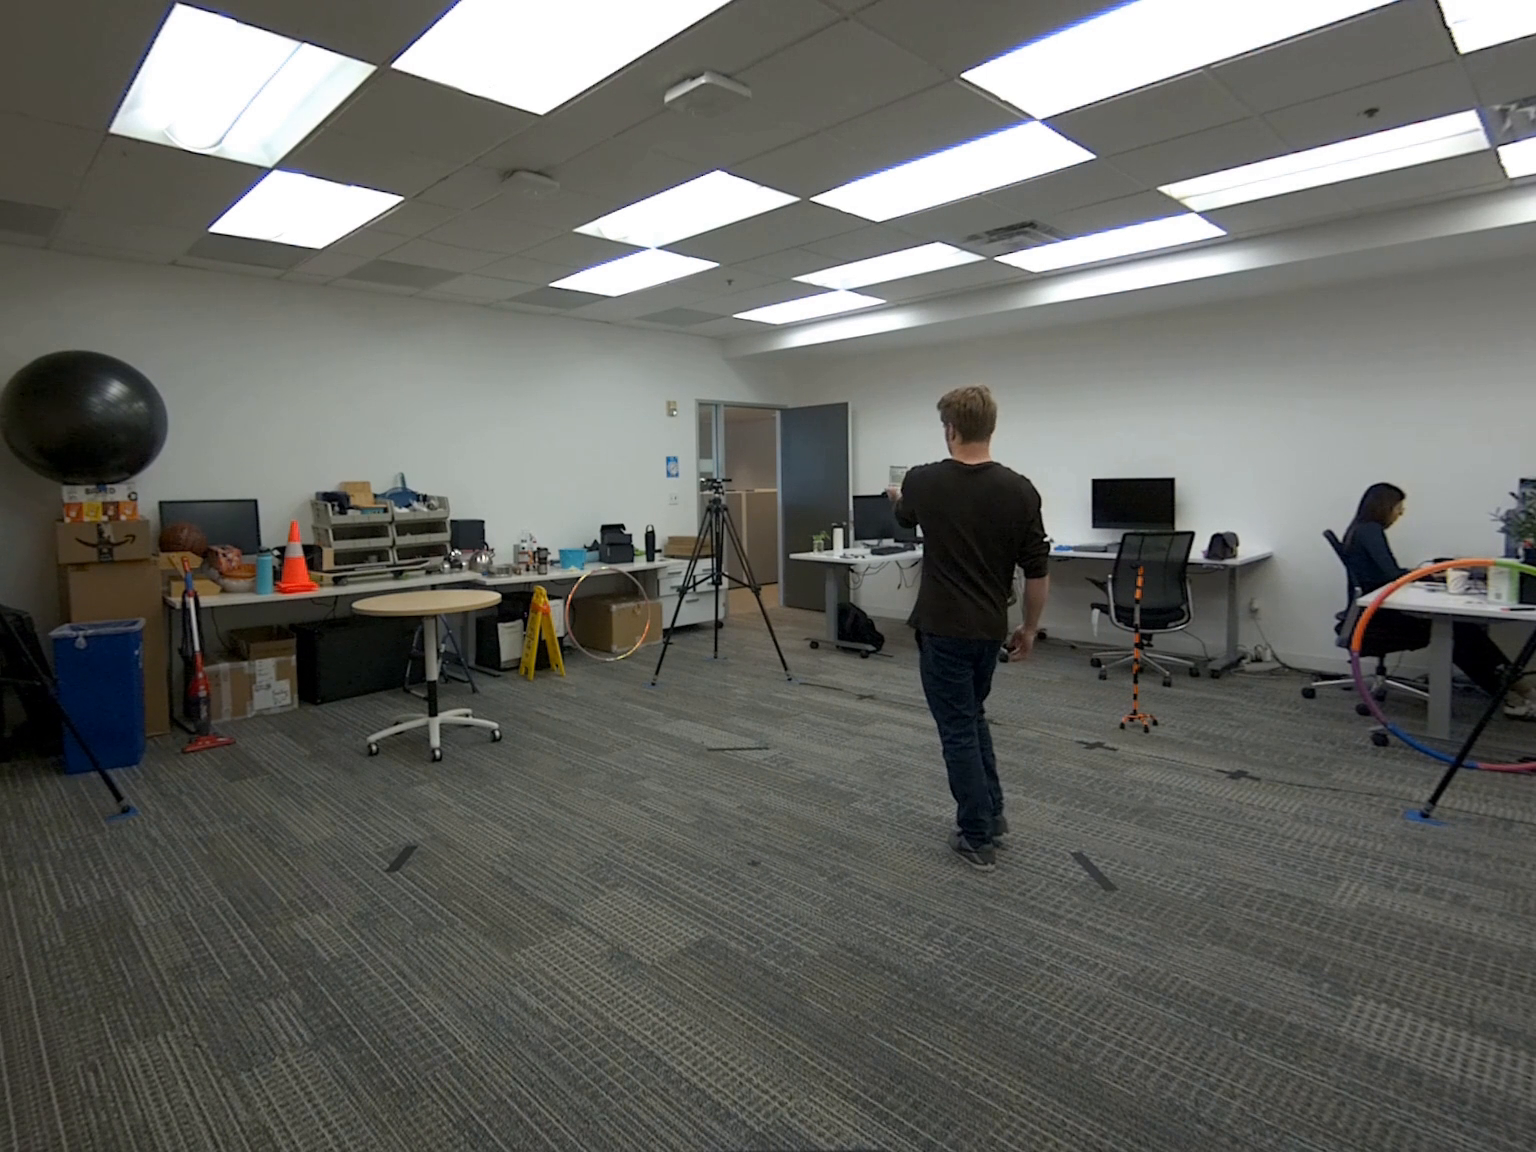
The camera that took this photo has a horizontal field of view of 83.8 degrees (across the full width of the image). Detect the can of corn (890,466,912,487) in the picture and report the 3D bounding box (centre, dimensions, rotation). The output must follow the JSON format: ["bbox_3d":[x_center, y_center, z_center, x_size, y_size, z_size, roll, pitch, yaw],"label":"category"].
[{"bbox_3d":[0.567,-0.407,3.646,0.074,0.110,0.075,5,7,-2],"label":"can of corn"}]
